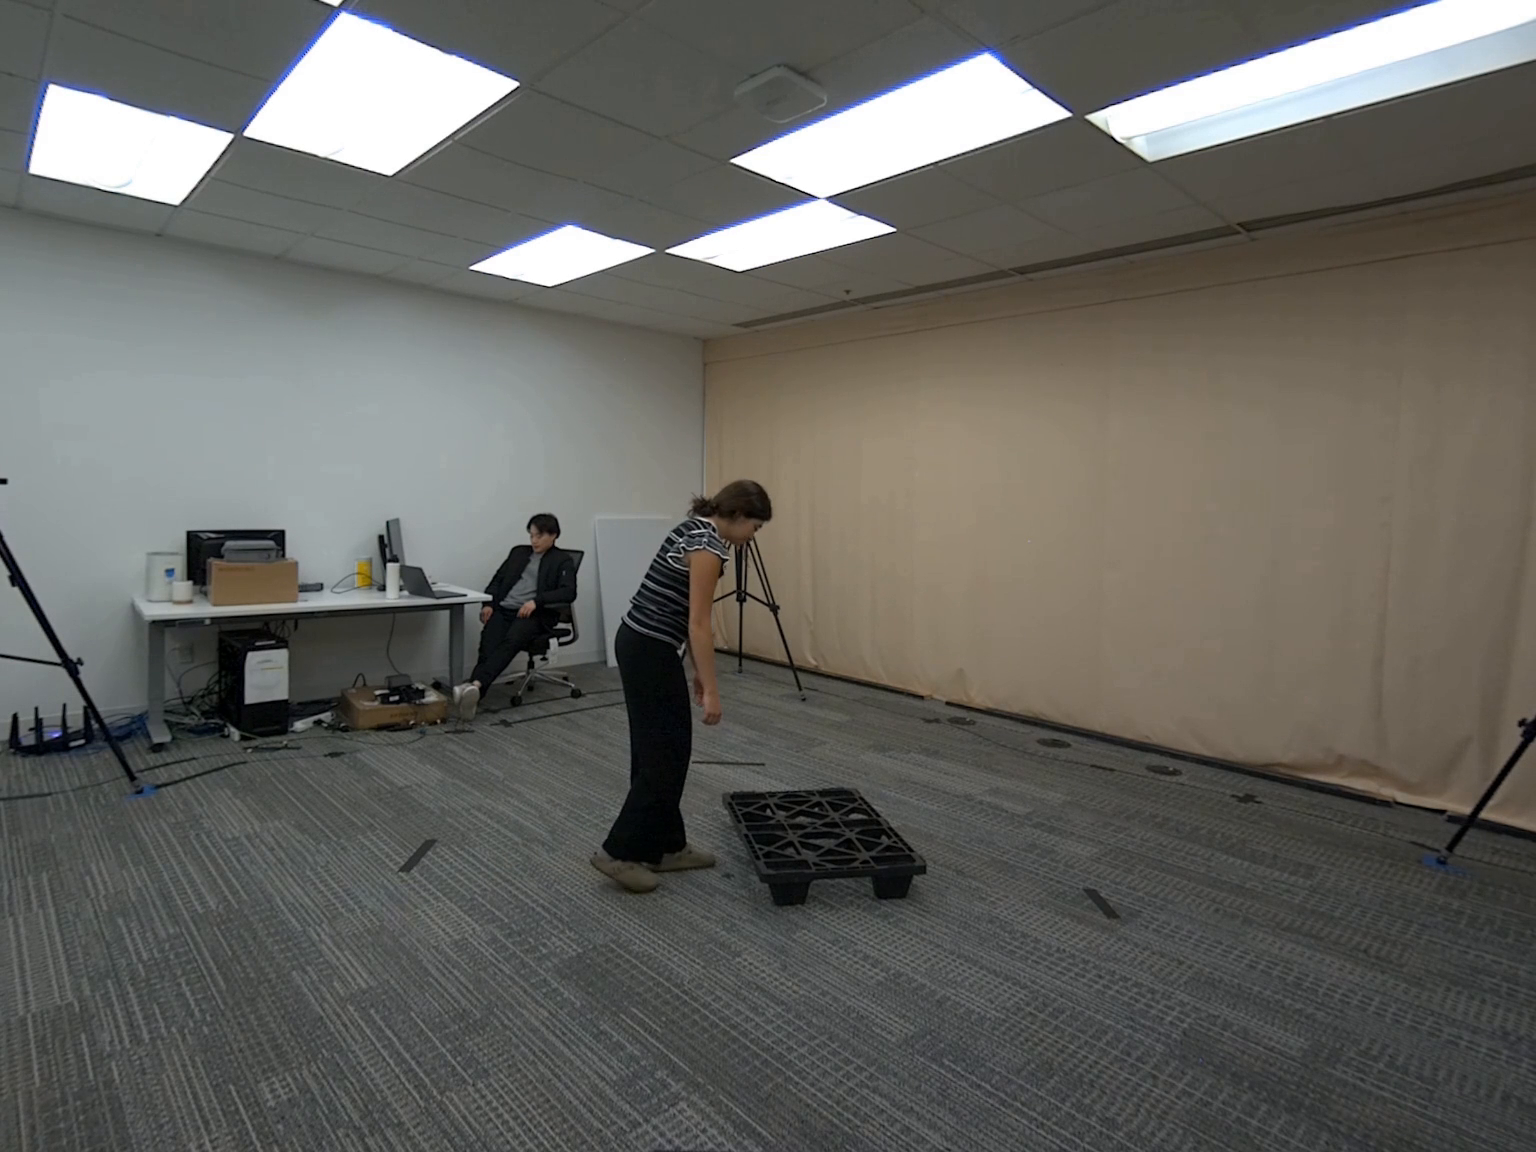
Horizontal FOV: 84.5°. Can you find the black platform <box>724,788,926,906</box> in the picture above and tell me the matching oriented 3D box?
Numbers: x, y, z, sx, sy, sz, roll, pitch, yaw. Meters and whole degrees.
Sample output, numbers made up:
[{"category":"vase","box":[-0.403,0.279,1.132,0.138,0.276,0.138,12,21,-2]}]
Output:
[{"category":"black platform","box":[0.171,1.032,3.274,0.599,0.143,0.815,1,5,-12]}]
